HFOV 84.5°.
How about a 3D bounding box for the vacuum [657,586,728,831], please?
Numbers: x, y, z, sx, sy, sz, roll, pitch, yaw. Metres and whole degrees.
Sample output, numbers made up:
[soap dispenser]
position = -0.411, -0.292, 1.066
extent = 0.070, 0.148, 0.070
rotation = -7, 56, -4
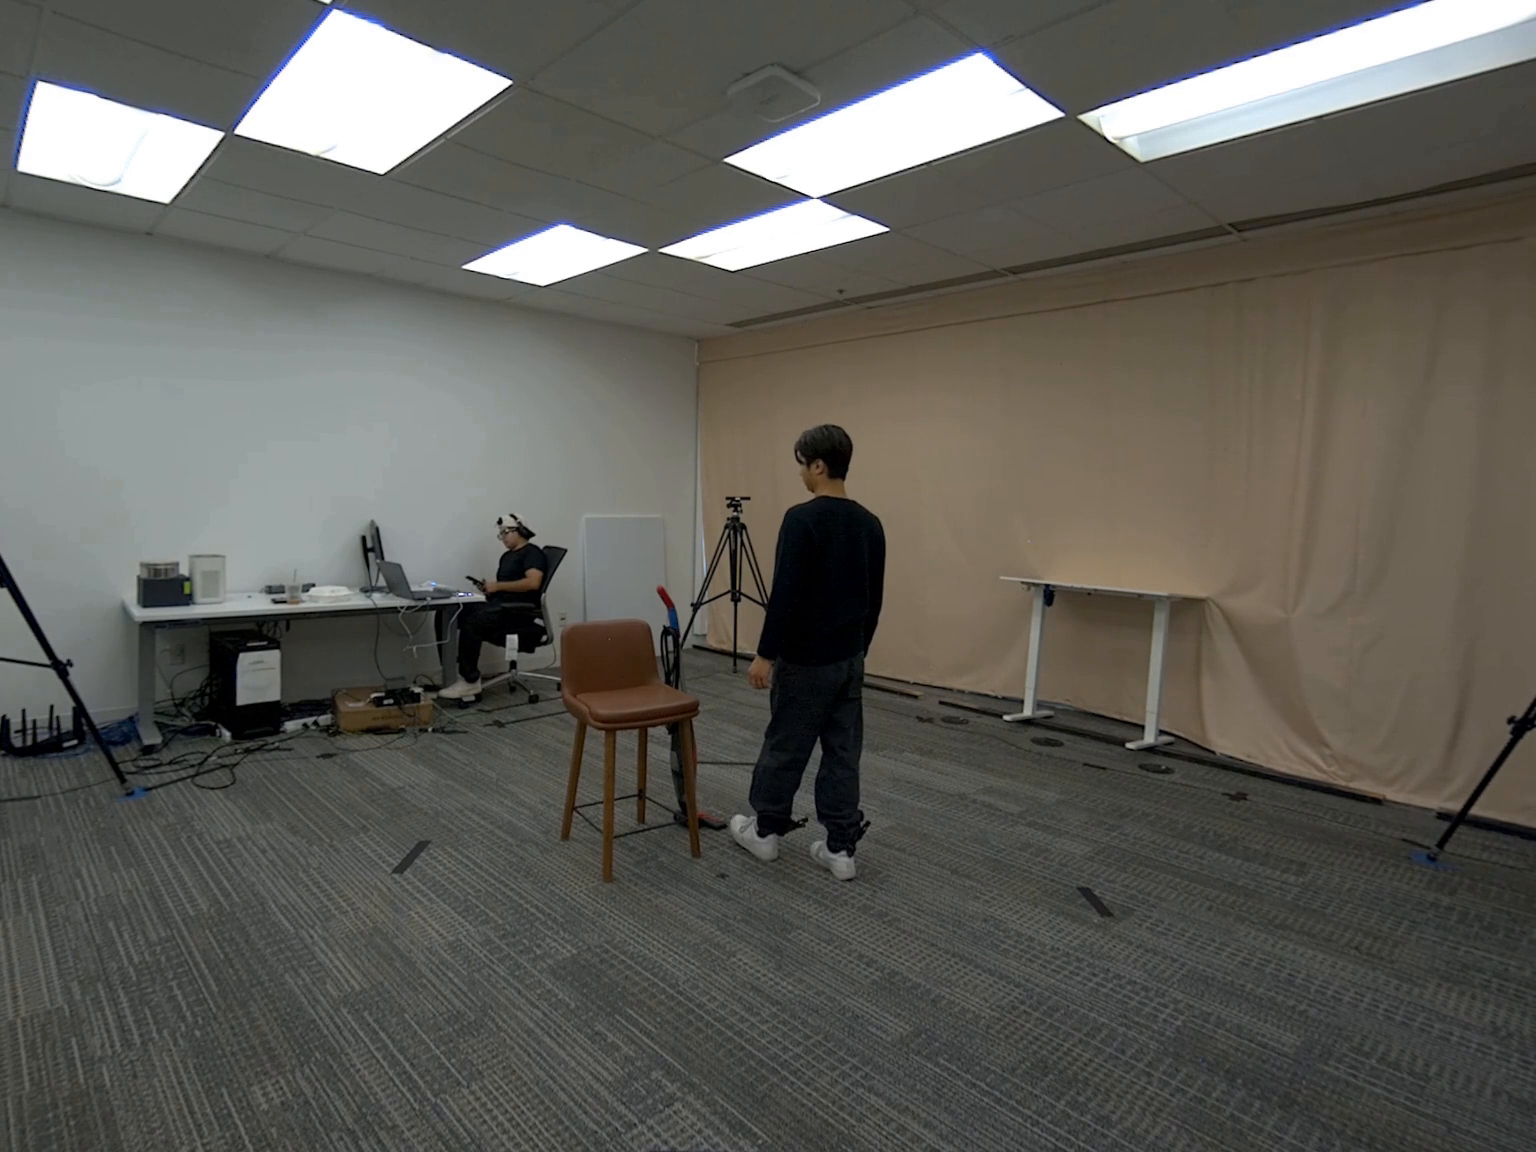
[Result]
[vacuum]
position = -0.391, 0.565, 3.520
extent = 0.141, 1.040, 0.259
rotation = -16, 14, -40
